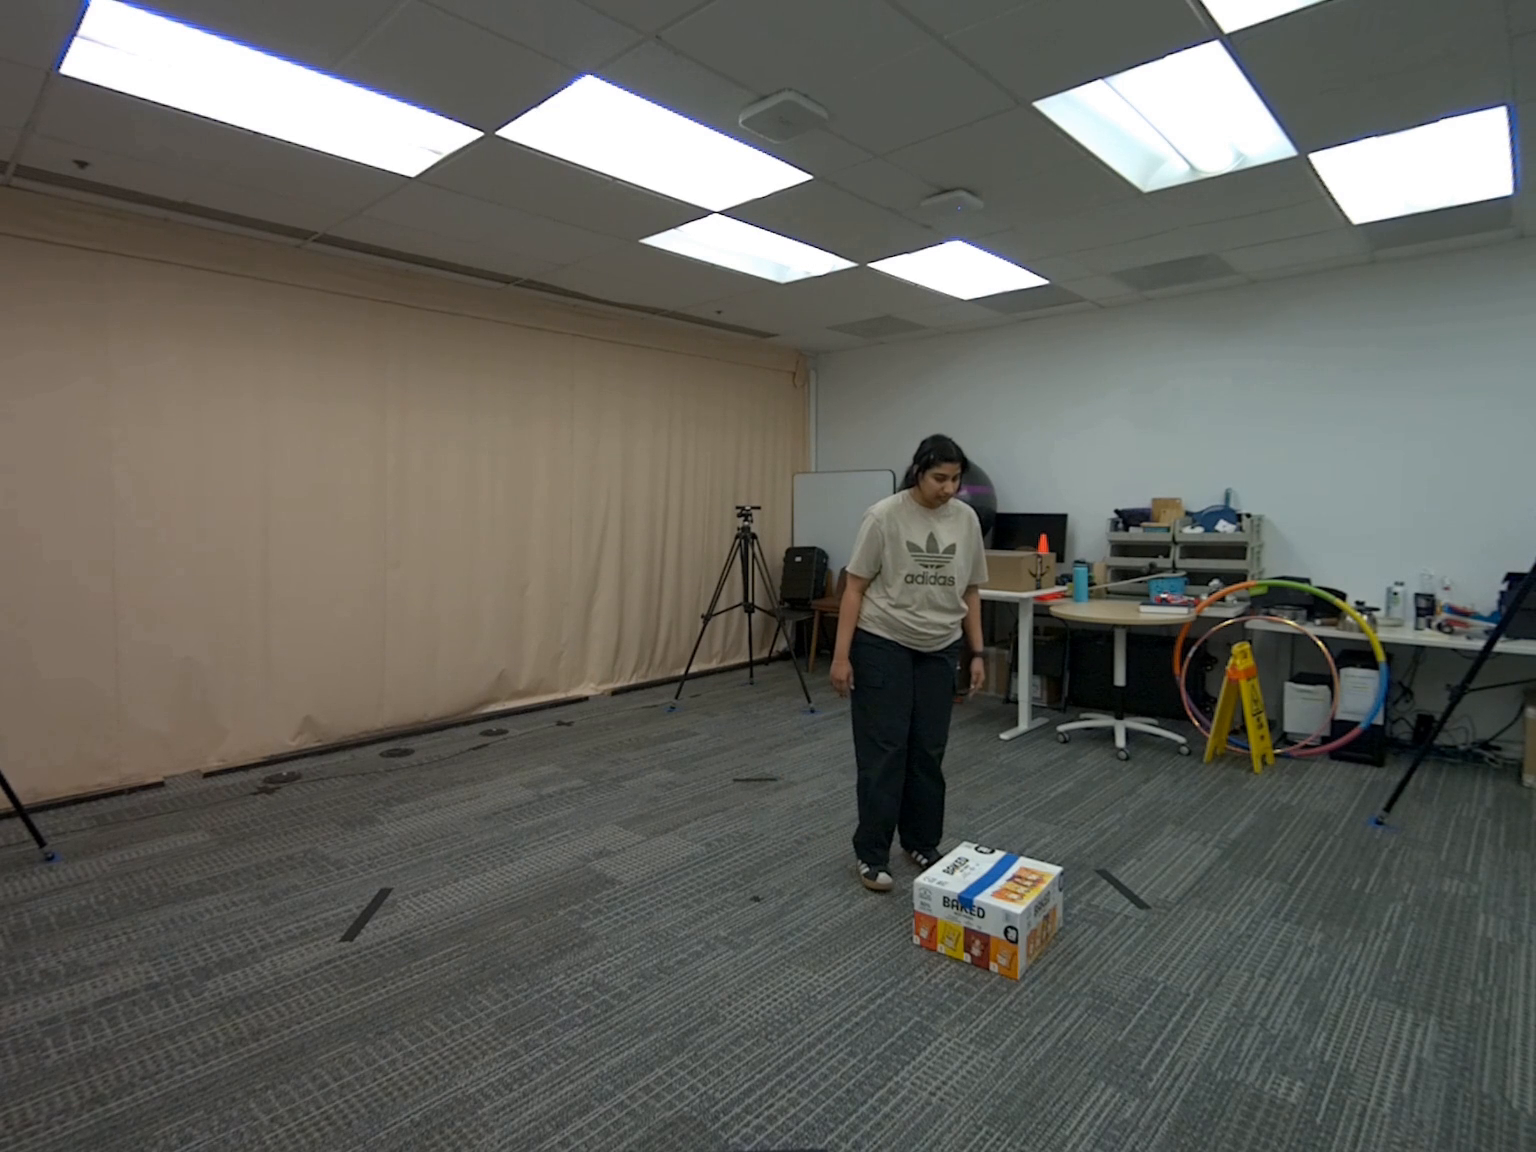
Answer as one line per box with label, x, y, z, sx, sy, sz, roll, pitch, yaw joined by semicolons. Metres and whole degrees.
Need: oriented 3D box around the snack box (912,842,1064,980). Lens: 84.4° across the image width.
snack box;0.720;1.062;2.717;0.351;0.205;0.393;4;6;37
